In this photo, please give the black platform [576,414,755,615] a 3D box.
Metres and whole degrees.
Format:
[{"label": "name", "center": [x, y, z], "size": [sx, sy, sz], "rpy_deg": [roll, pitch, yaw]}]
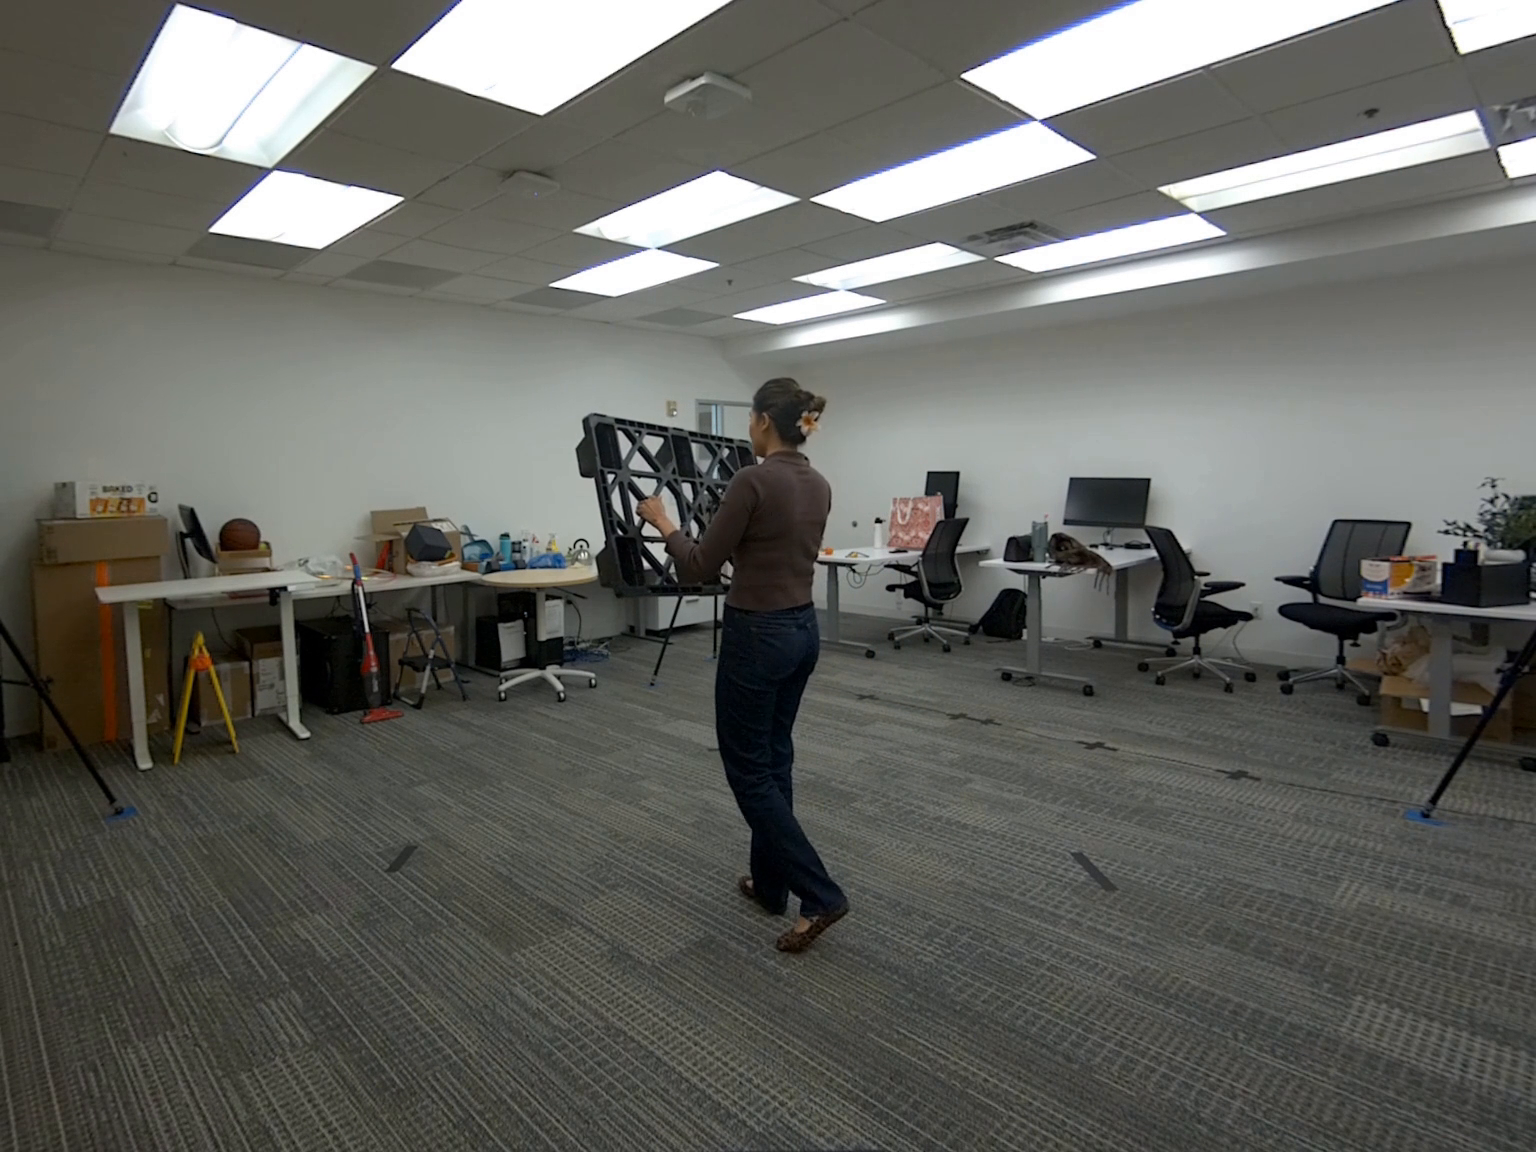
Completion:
[{"label": "black platform", "center": [-0.292, -0.215, 2.939], "size": [0.145, 0.614, 0.781], "rpy_deg": [-25, -17, 38]}]
